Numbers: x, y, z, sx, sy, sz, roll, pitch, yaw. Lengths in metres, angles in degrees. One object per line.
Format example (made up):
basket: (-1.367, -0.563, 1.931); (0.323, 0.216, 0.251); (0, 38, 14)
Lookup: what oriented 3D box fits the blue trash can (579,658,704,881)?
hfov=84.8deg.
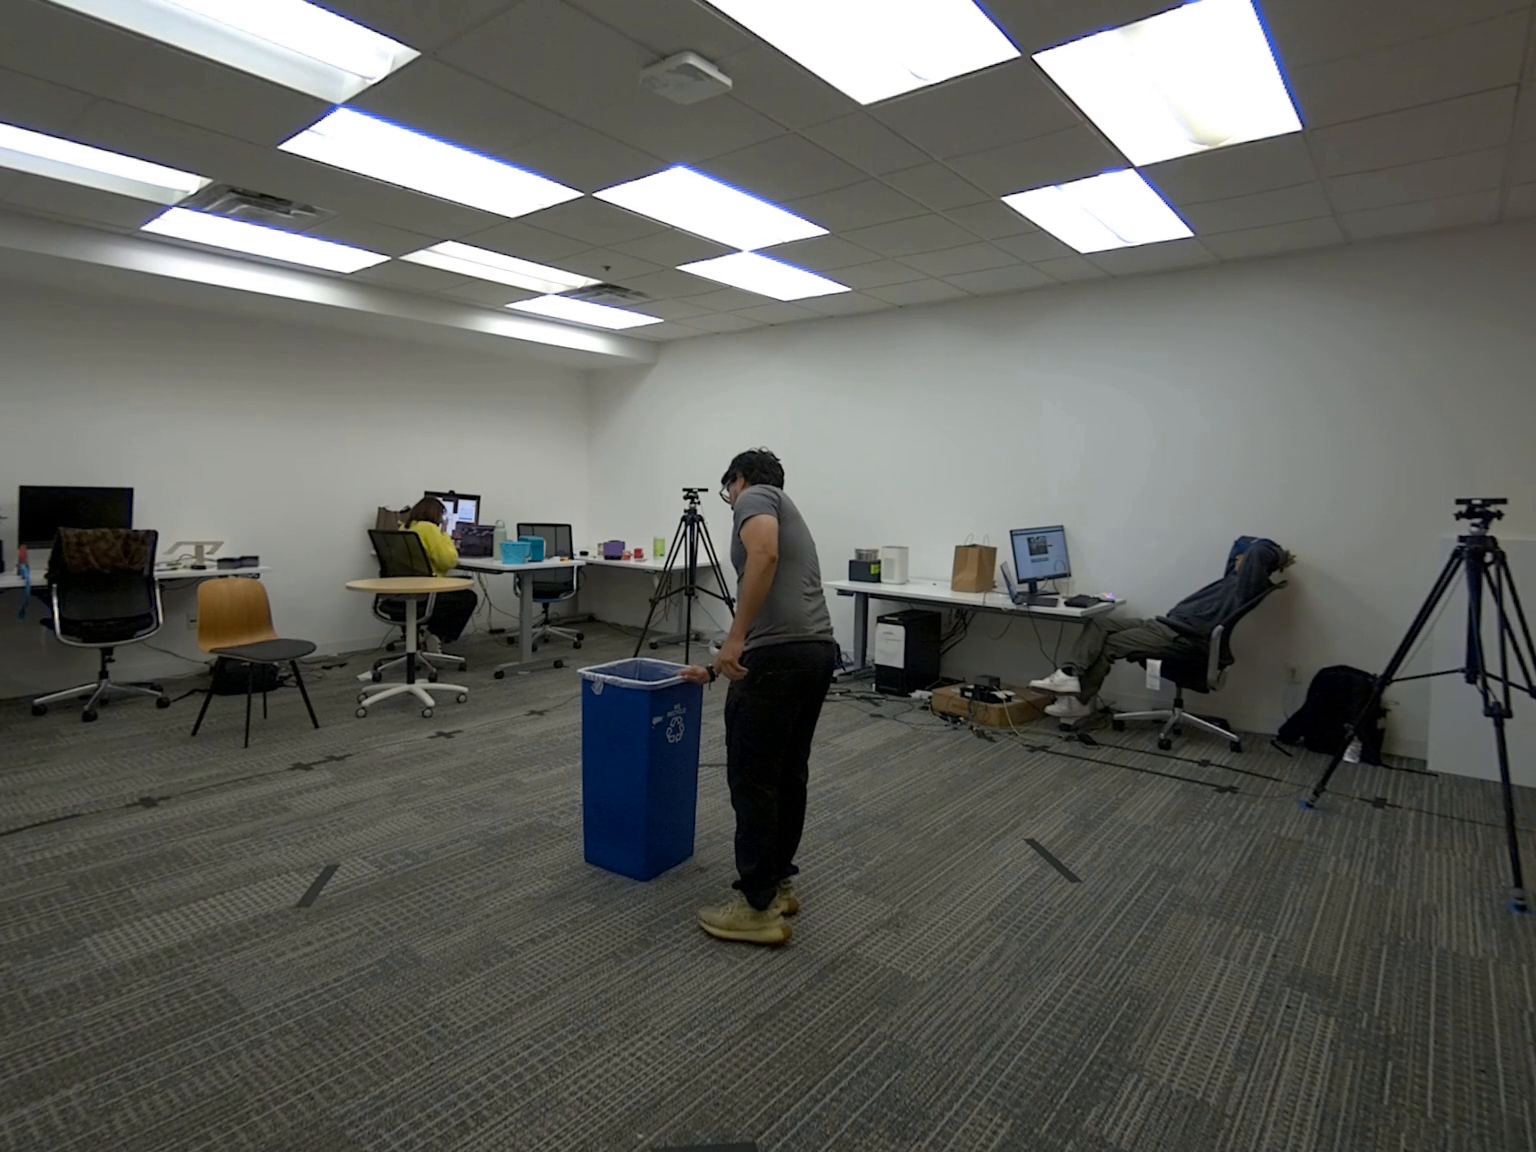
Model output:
blue trash can: (-0.484, 0.698, 3.190); (0.390, 0.712, 0.364); (3, 4, 33)
